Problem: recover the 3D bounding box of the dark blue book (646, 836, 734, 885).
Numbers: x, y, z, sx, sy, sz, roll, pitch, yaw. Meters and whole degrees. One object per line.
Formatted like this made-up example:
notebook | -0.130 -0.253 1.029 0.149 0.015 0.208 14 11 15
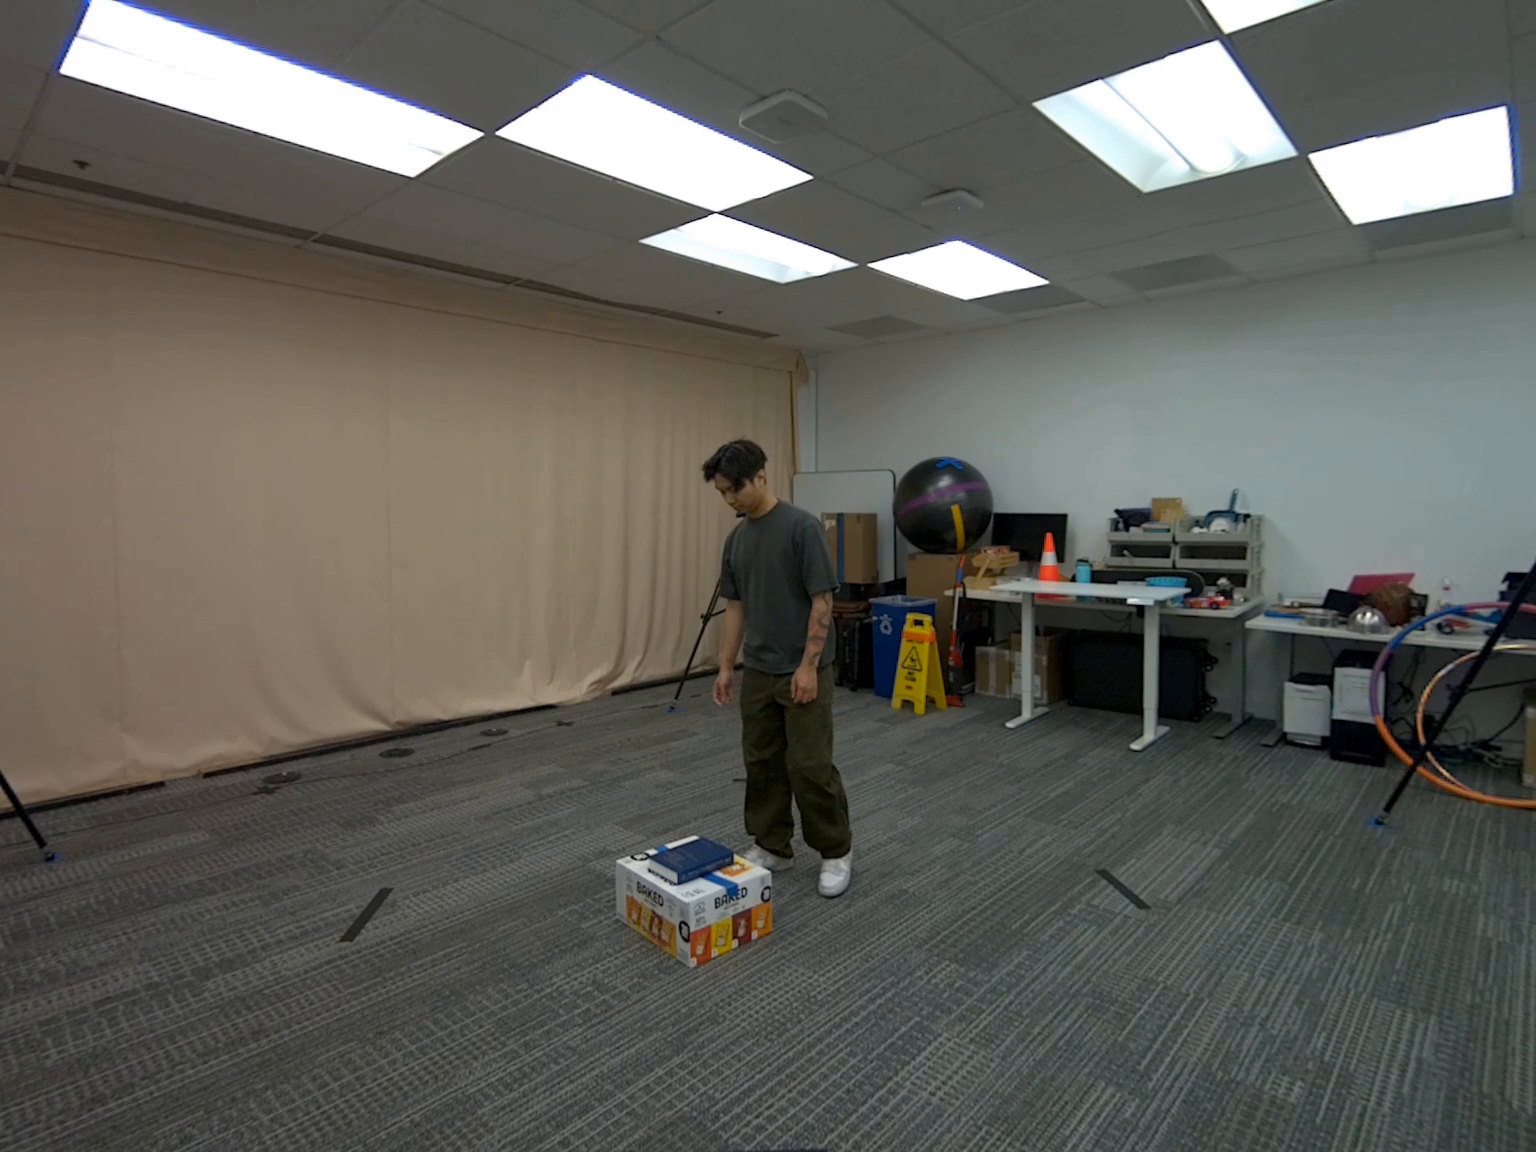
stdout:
dark blue book | -0.260 0.949 2.788 0.238 0.045 0.169 -5 7 -42
